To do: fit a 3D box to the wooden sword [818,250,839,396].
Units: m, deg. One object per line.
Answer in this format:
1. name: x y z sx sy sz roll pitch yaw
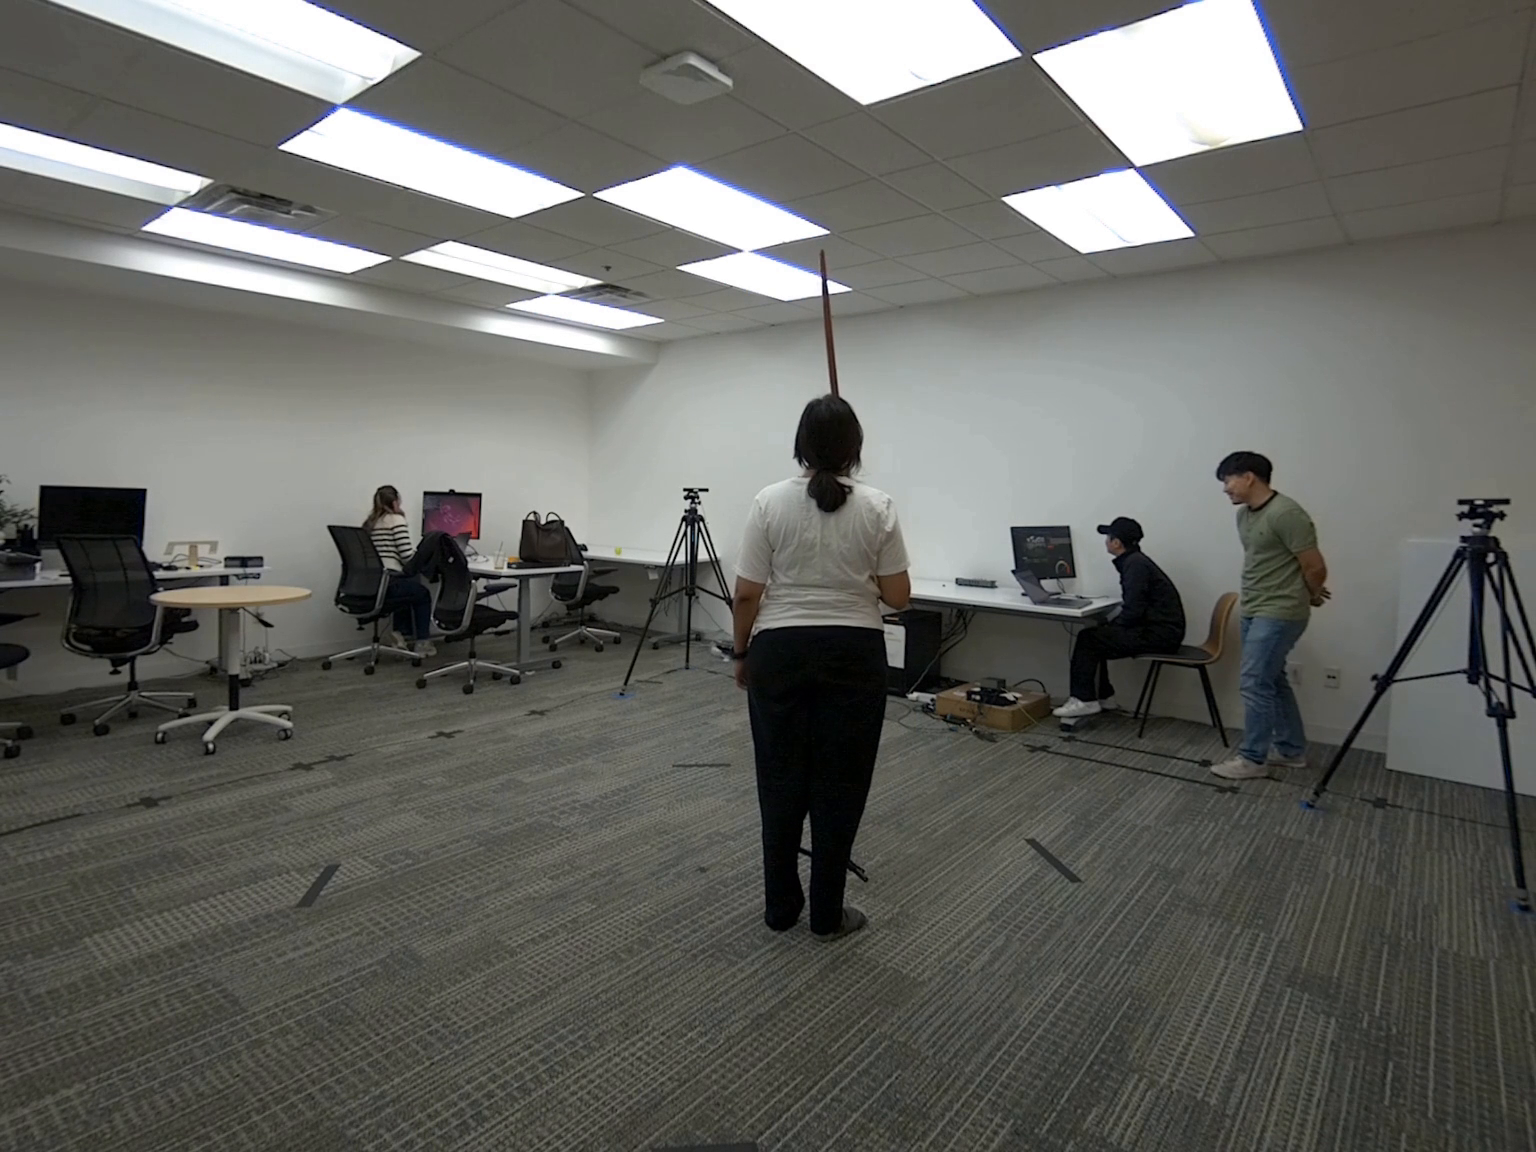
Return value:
1. wooden sword: 0.230 -0.568 2.856 0.053 1.015 0.023 -2 10 34
